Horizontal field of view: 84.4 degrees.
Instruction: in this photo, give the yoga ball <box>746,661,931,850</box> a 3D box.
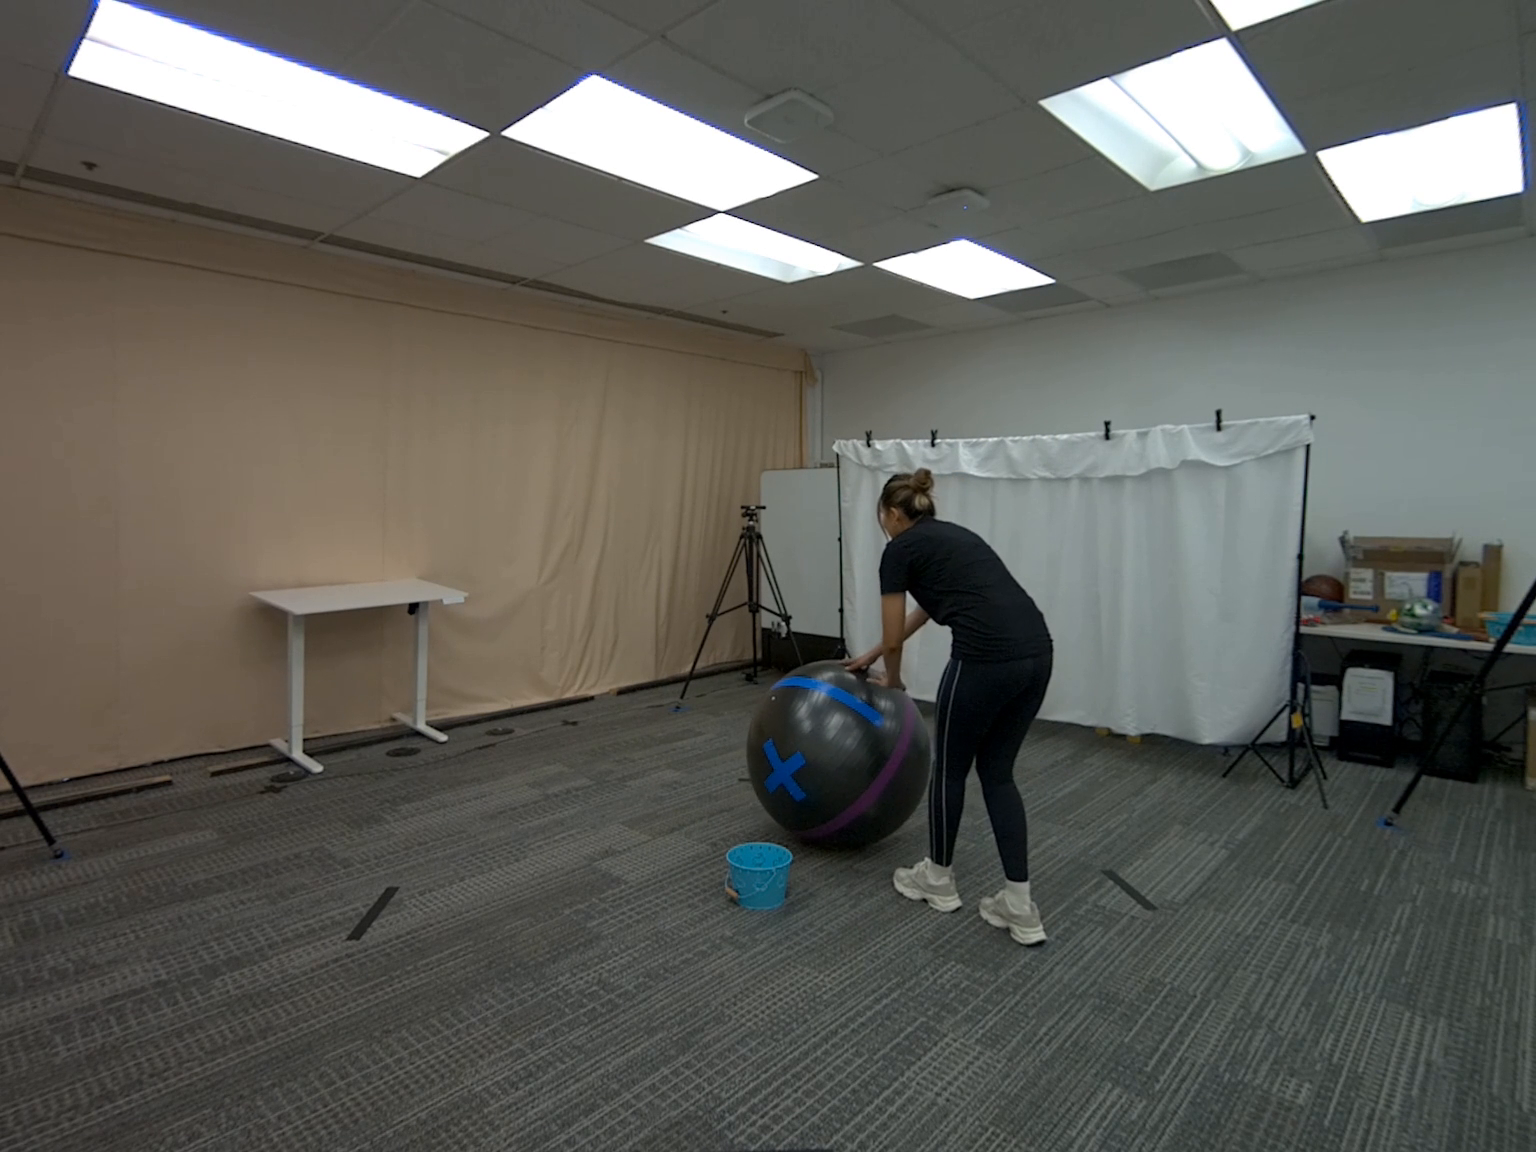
[{"bbox_3d":[0.295,0.735,3.499,0.757,0.756,0.760,0,4,-2],"label":"yoga ball"}]
